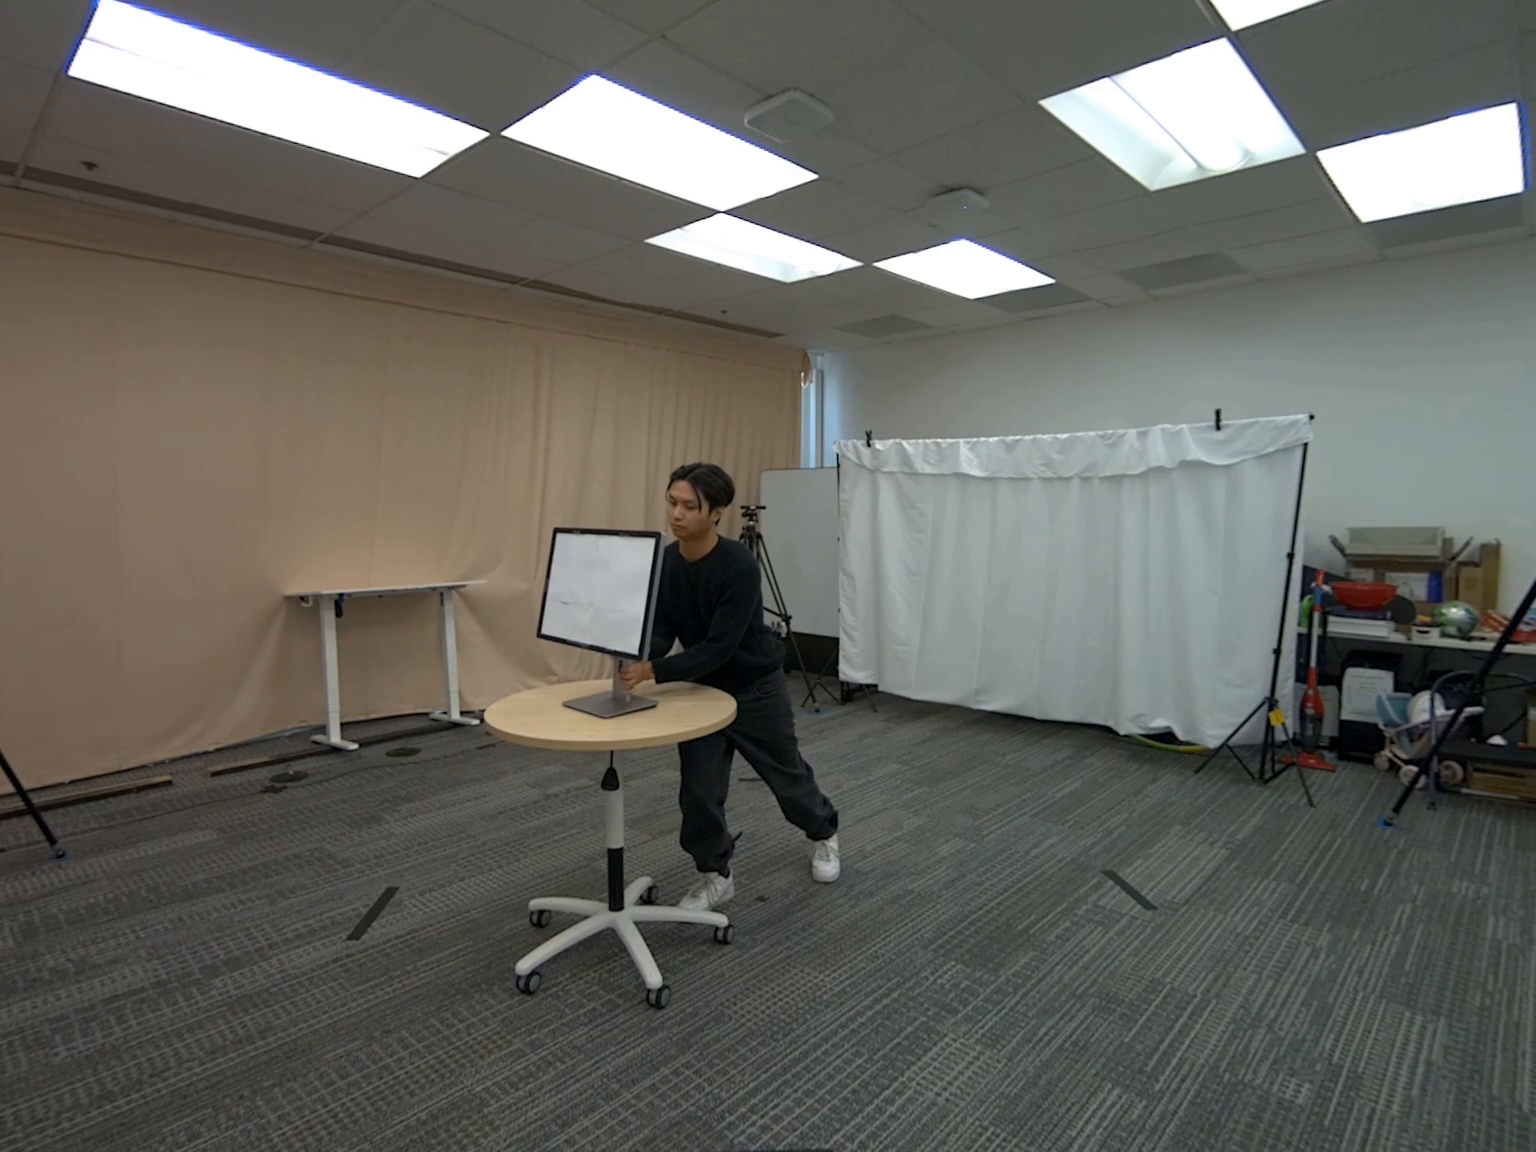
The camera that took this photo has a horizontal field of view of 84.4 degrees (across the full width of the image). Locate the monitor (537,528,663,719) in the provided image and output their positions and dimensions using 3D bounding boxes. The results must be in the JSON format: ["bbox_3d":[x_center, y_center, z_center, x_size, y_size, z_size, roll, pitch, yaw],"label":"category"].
[{"bbox_3d":[-0.492,0.129,2.564,0.548,0.513,0.170,6,13,44],"label":"monitor"}]
